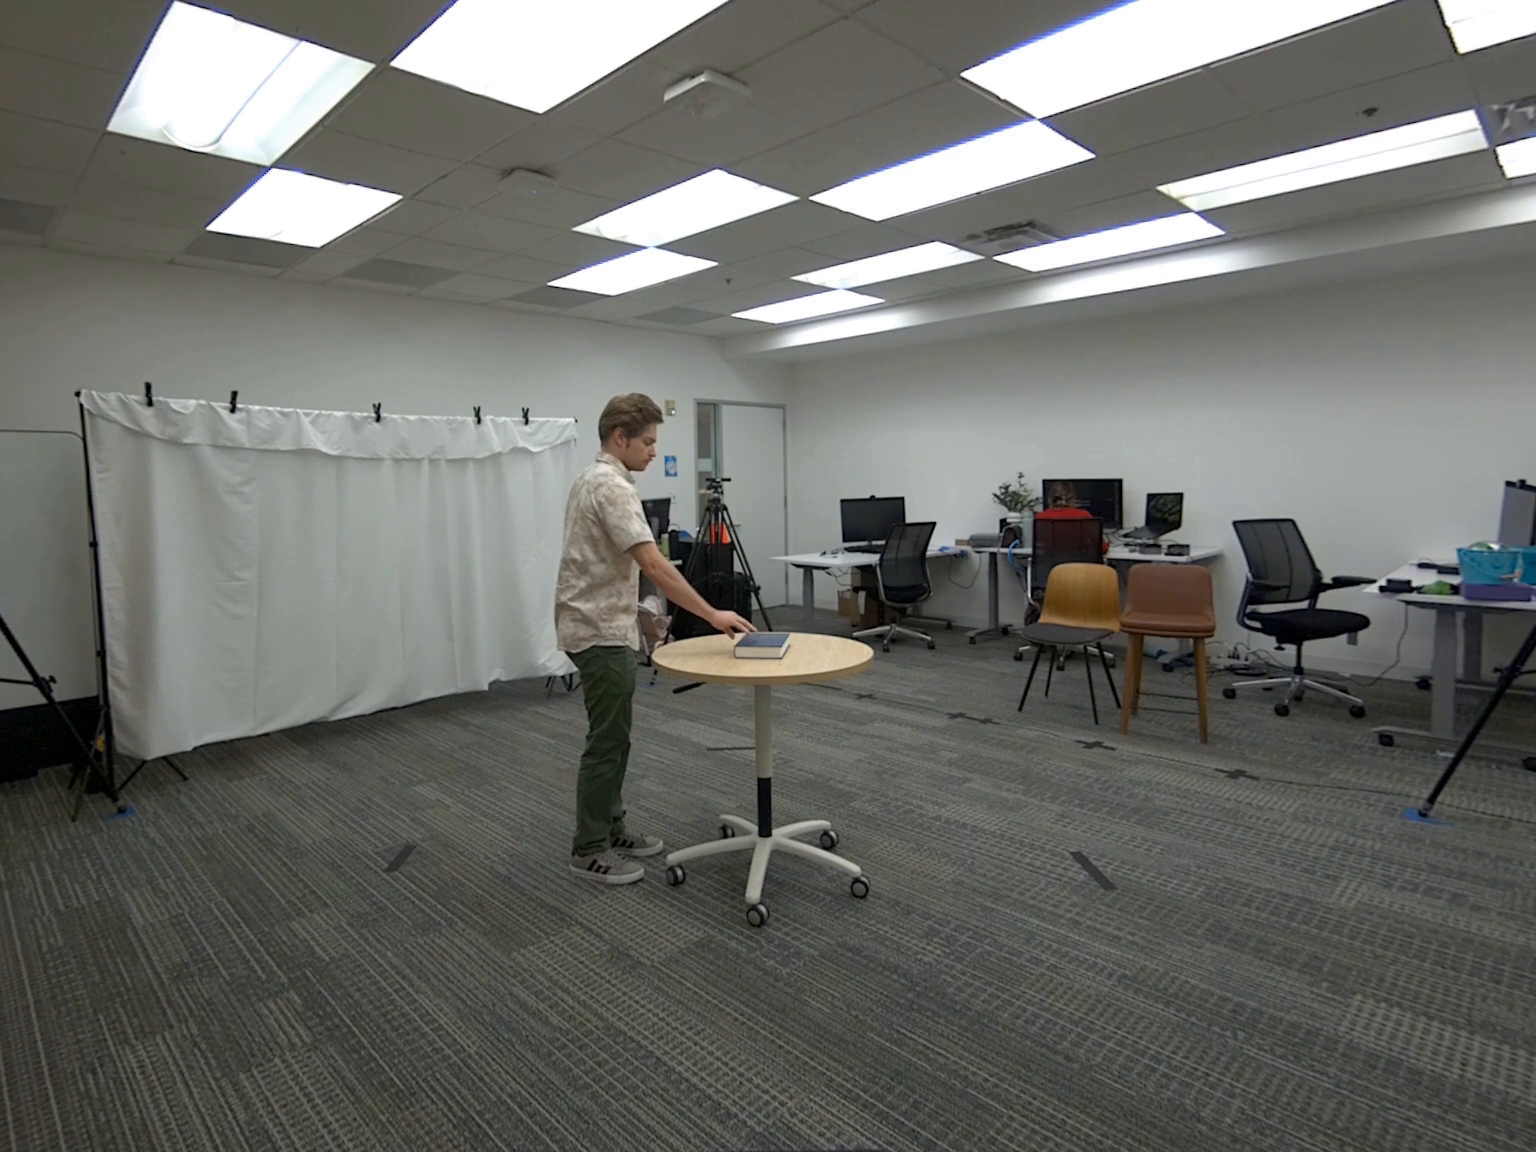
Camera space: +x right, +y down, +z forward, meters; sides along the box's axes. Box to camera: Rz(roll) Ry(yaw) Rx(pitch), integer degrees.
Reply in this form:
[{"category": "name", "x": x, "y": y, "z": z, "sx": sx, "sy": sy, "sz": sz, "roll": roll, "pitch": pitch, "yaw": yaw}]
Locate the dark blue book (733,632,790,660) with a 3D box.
[{"category": "dark blue book", "x": -0.015, "y": 0.240, "z": 2.967, "sx": 0.165, "sy": 0.045, "sz": 0.243, "roll": 0, "pitch": 5, "yaw": 10}]
